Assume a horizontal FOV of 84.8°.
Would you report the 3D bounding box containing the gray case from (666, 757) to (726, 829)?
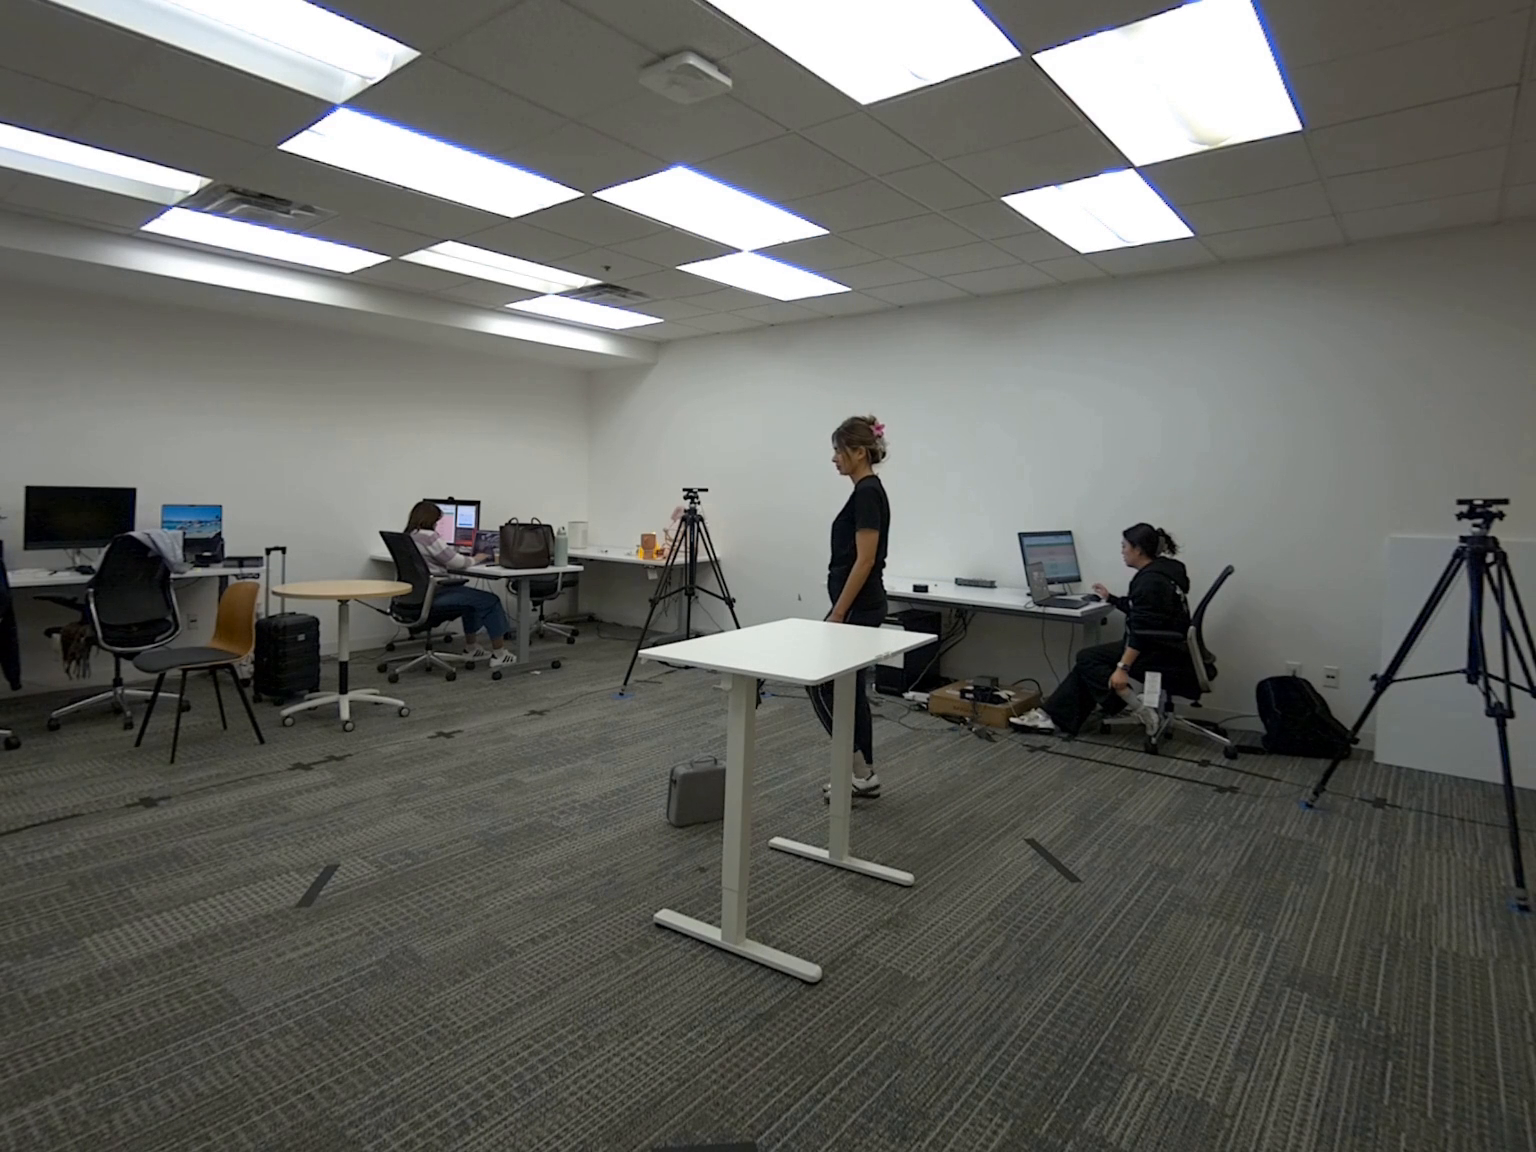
[{"bbox_3d":[-0.301,0.891,3.553,0.250,0.258,0.108,-1,13,-29],"label":"gray case"}]
